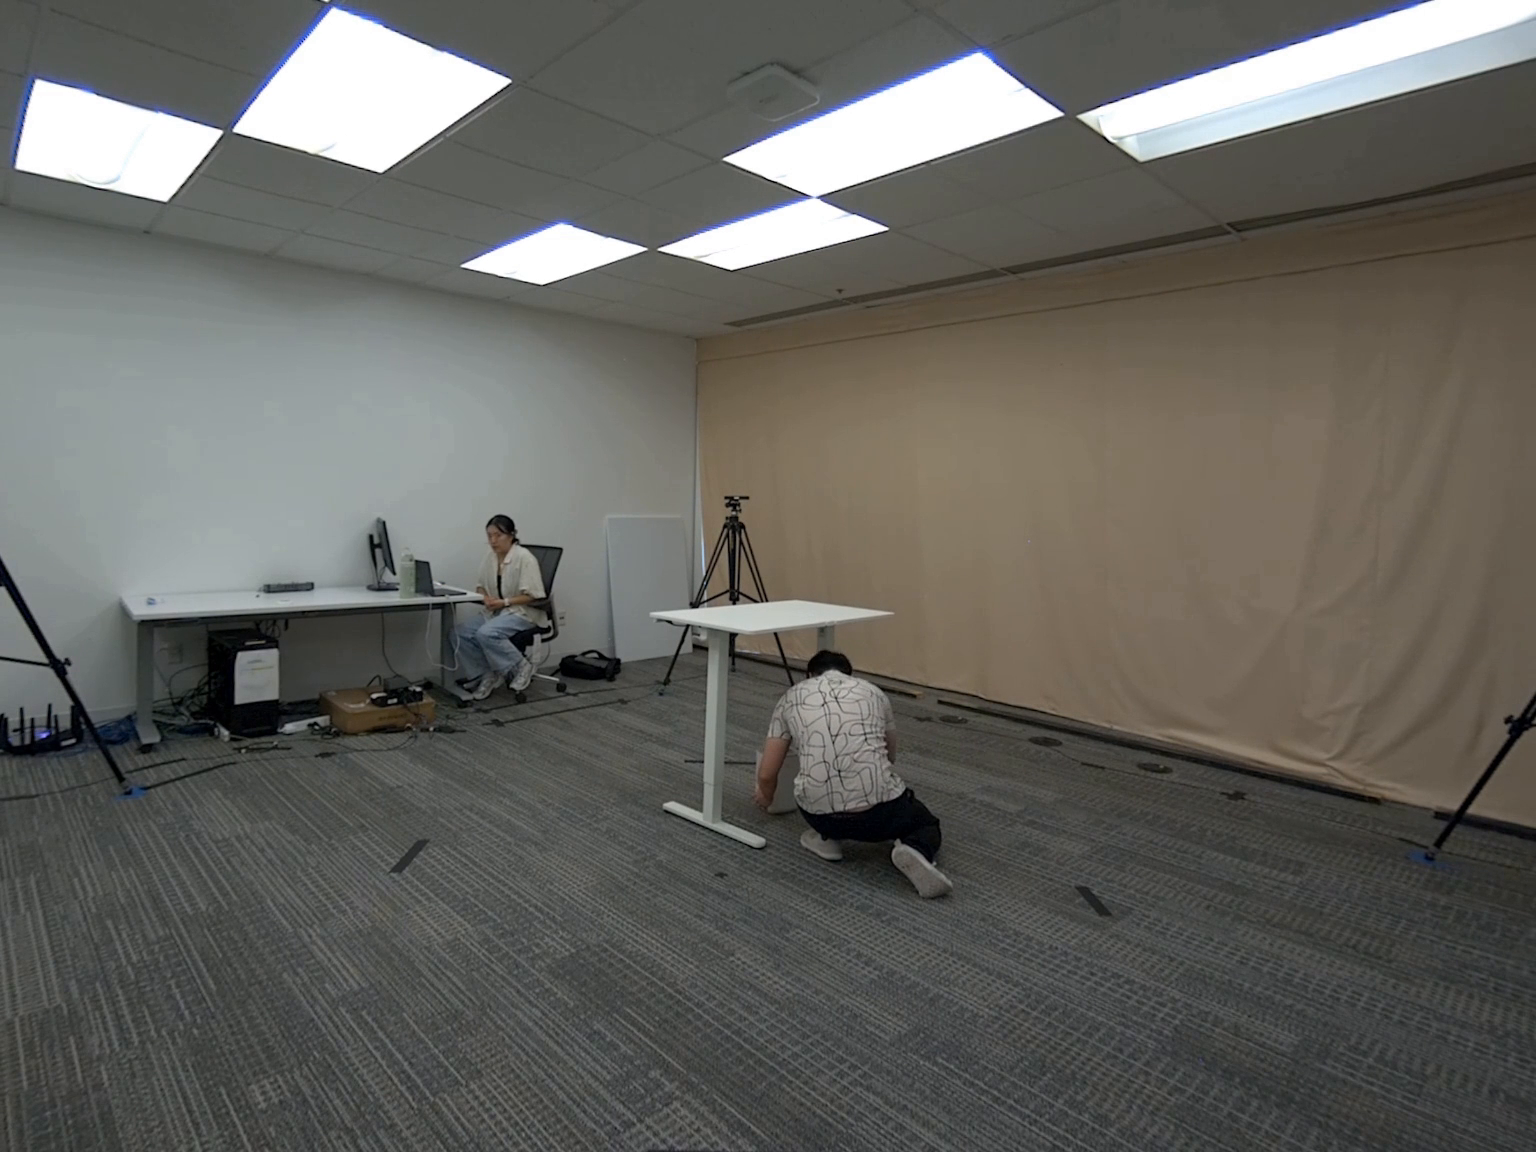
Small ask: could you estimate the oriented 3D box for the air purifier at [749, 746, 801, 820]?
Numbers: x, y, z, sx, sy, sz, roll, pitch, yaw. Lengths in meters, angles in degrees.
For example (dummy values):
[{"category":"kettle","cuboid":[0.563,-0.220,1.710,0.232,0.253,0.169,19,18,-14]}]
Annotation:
[{"category":"air purifier","cuboid":[0.036,0.918,3.798,0.167,0.265,0.175,0,4,-31]}]
